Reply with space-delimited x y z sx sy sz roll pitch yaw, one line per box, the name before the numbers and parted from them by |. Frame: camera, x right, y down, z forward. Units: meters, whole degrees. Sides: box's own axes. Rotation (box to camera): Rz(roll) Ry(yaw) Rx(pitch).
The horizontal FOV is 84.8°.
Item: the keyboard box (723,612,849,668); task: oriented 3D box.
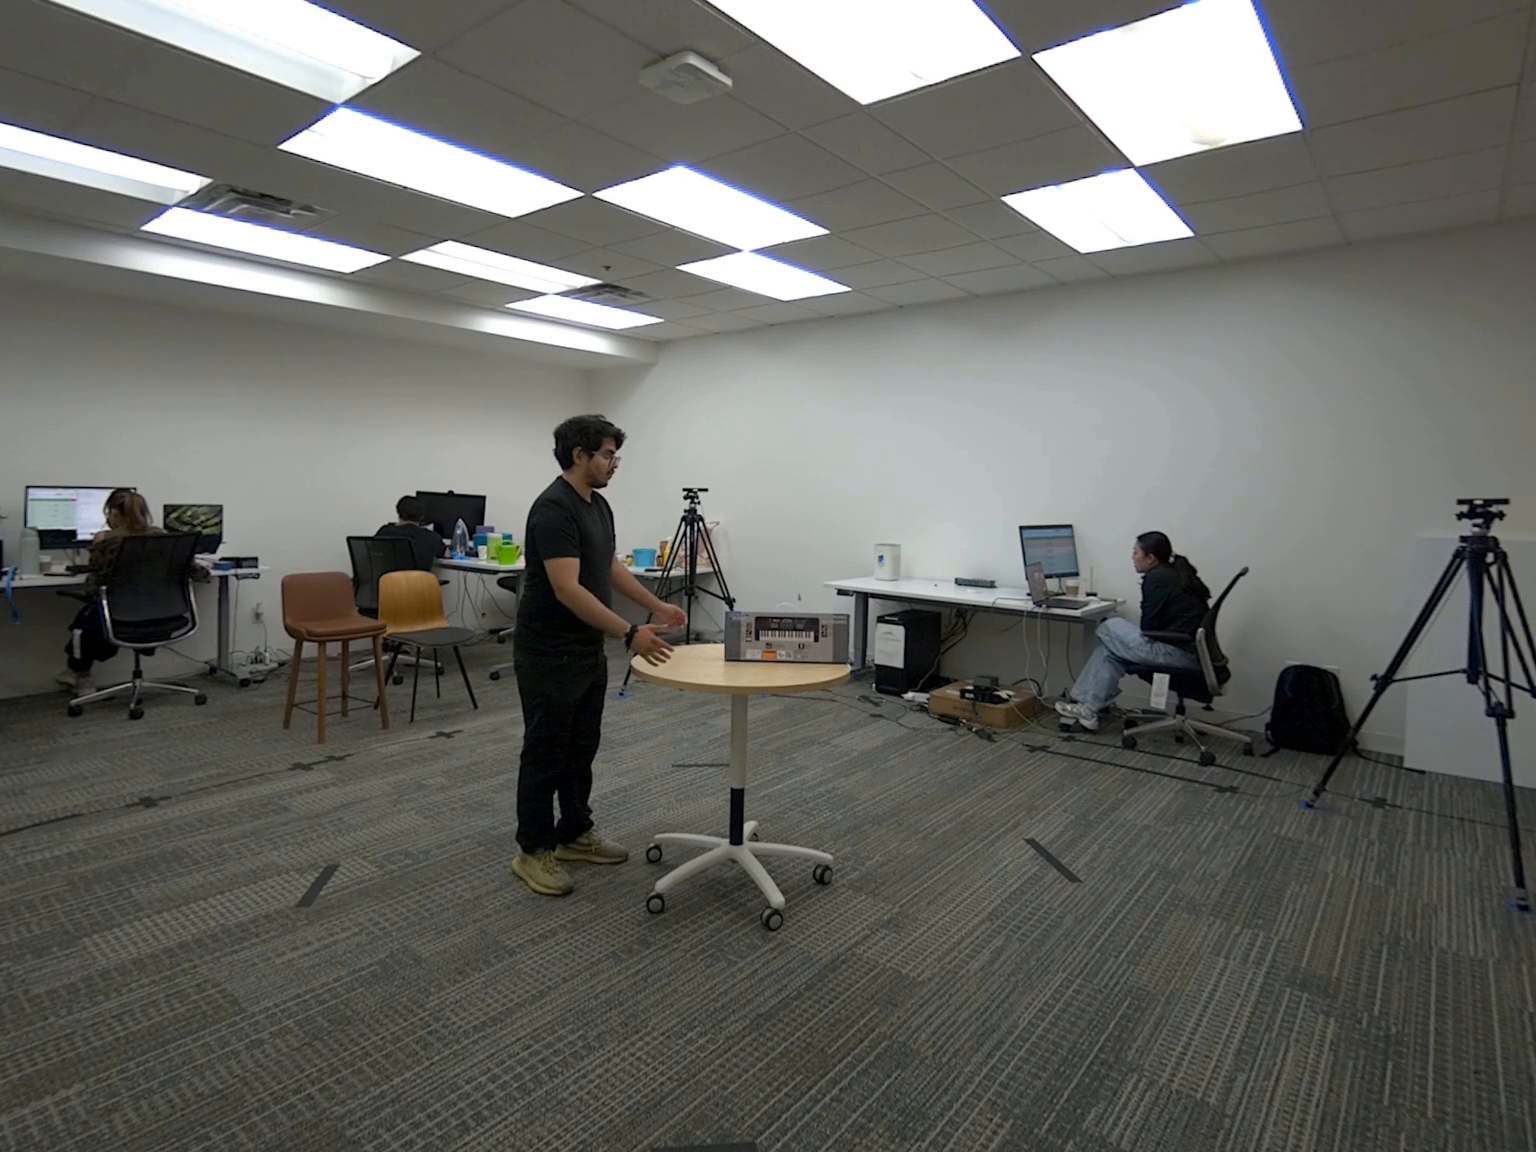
keyboard box | 0.060 0.225 2.999 0.437 0.175 0.059 2 2 1
